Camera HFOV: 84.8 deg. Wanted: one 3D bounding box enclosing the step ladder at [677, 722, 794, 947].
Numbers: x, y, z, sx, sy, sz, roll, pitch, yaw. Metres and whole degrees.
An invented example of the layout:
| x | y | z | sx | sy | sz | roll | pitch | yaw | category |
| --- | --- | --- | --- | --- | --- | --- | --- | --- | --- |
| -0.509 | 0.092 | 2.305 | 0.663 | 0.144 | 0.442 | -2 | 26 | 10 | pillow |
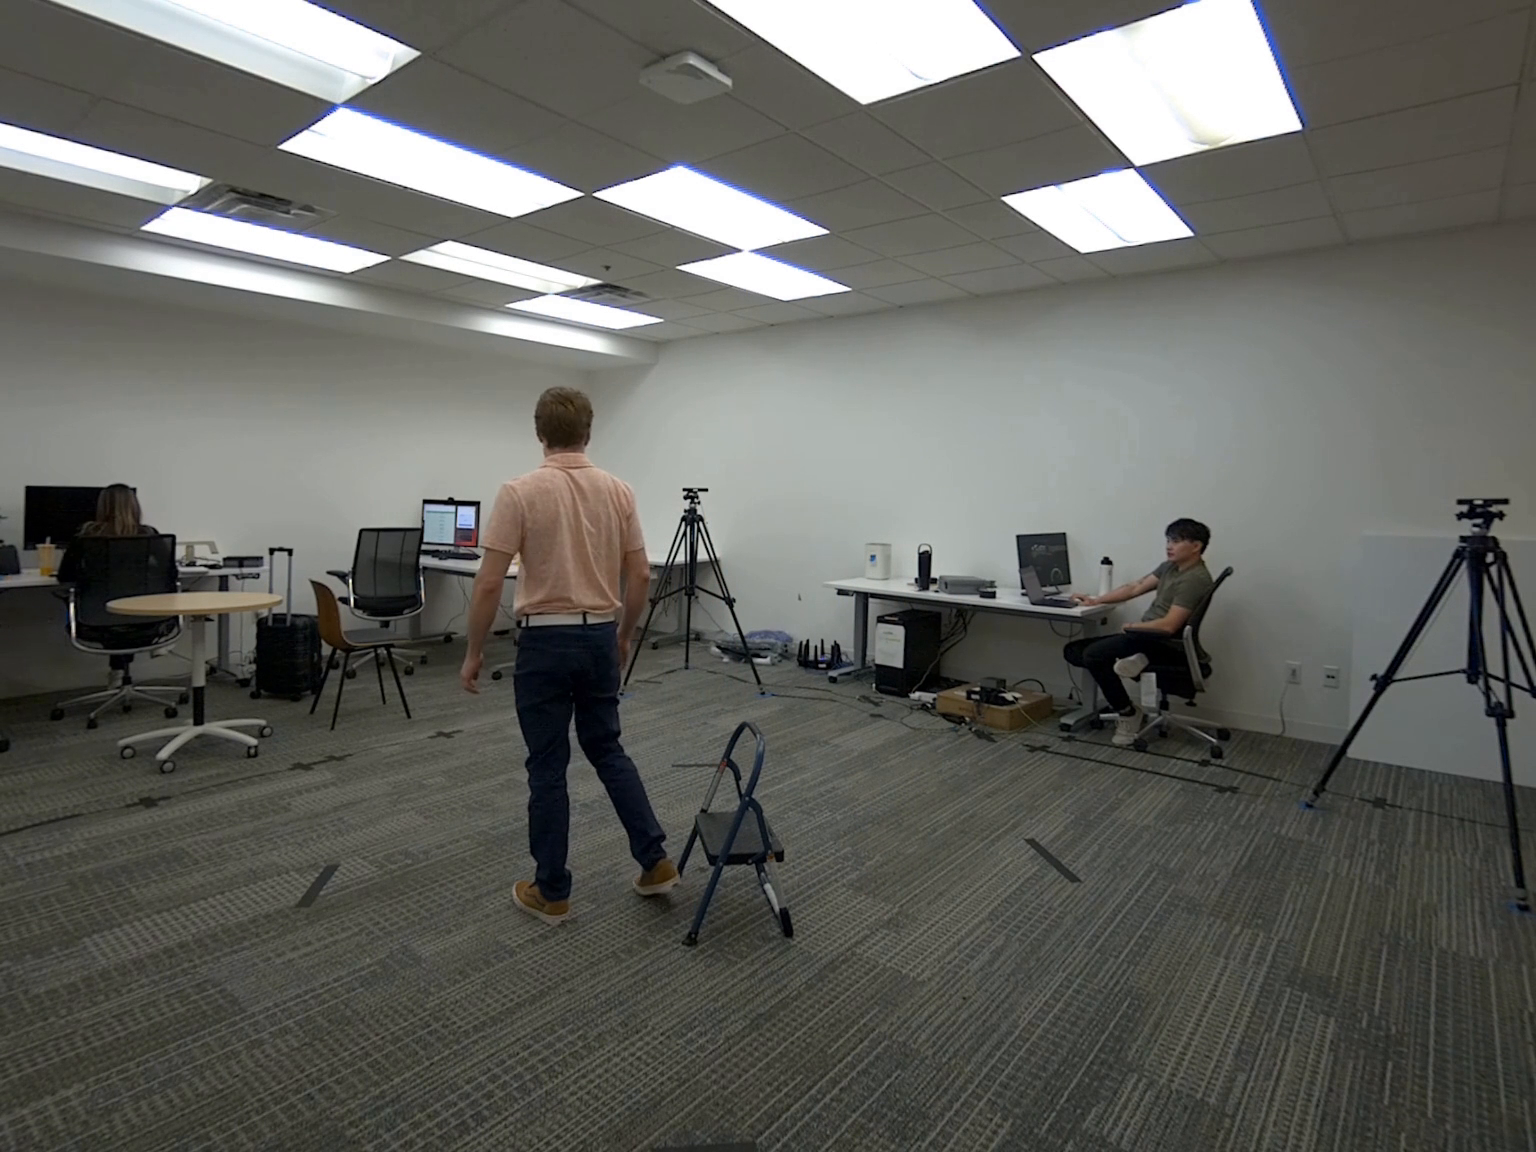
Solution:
| x | y | z | sx | sy | sz | roll | pitch | yaw | category |
| --- | --- | --- | --- | --- | --- | --- | --- | --- | --- |
| -0.129 | 0.803 | 2.797 | 0.345 | 0.604 | 0.438 | 1 | 4 | -13 | step ladder |
